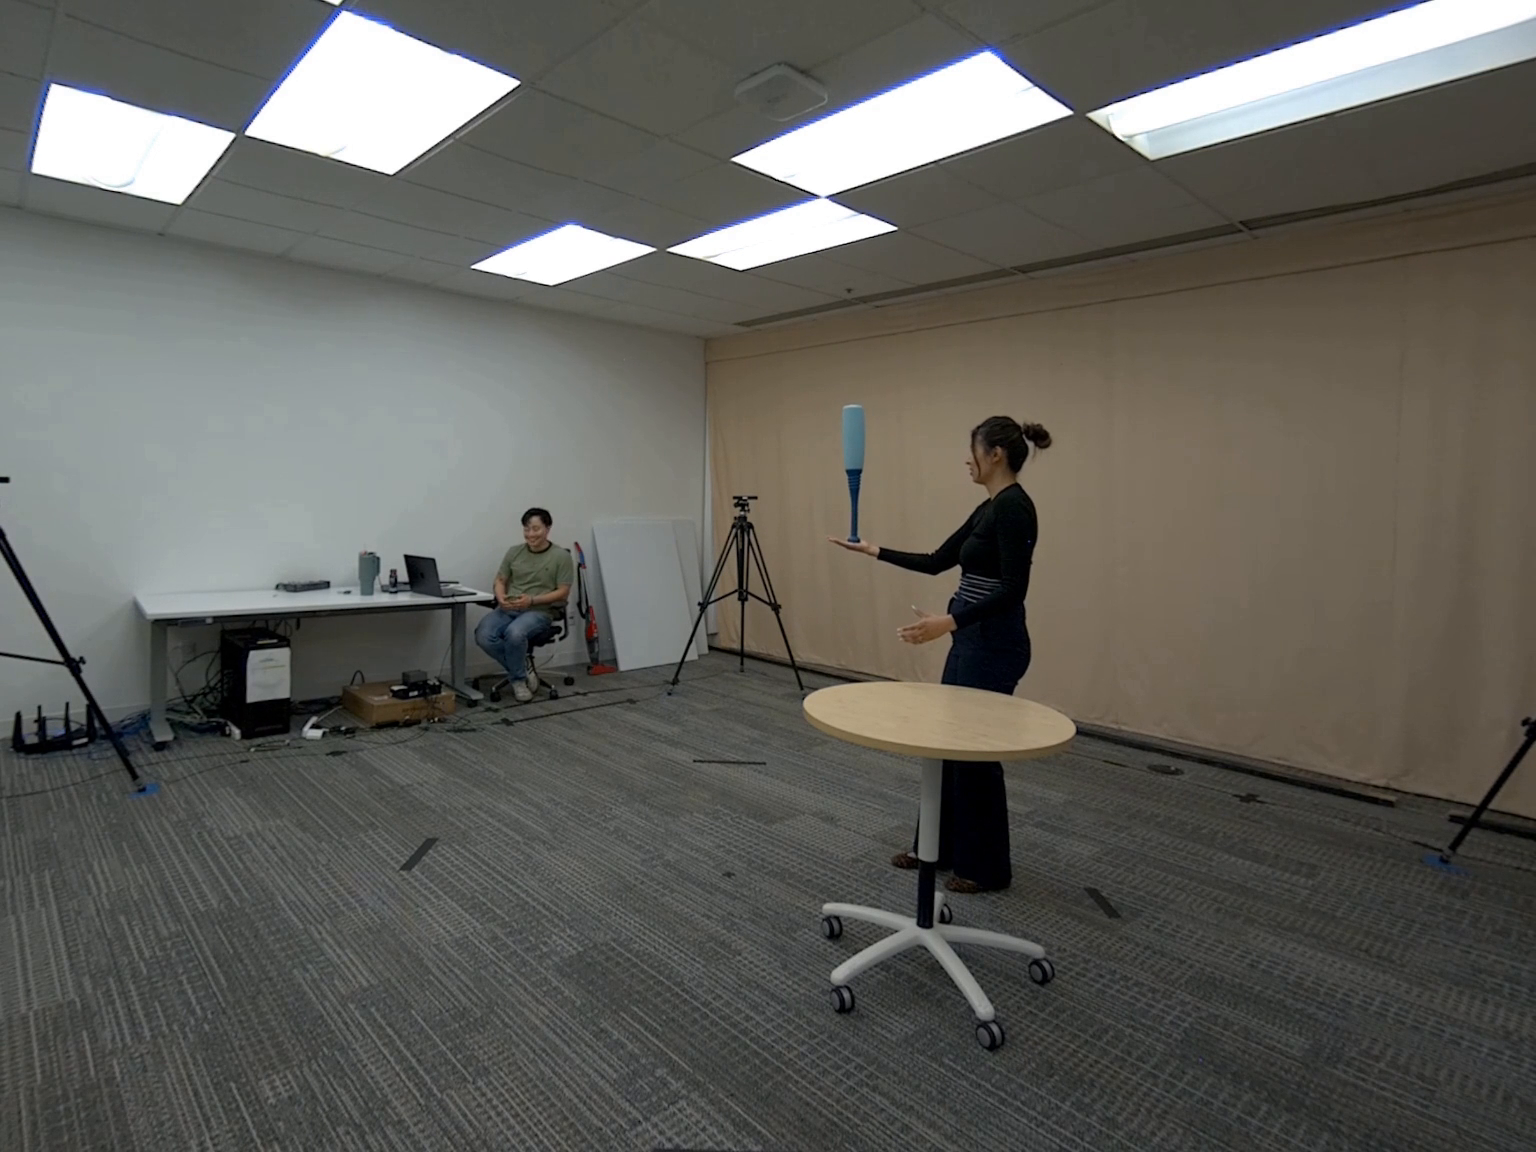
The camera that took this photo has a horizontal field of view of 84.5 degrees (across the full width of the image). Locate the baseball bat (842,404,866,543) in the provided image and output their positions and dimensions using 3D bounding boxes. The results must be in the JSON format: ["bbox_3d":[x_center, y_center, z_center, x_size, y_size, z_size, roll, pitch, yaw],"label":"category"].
[{"bbox_3d":[0.341,-0.399,3.313,0.089,0.542,0.089,0,3,-1],"label":"baseball bat"}]
